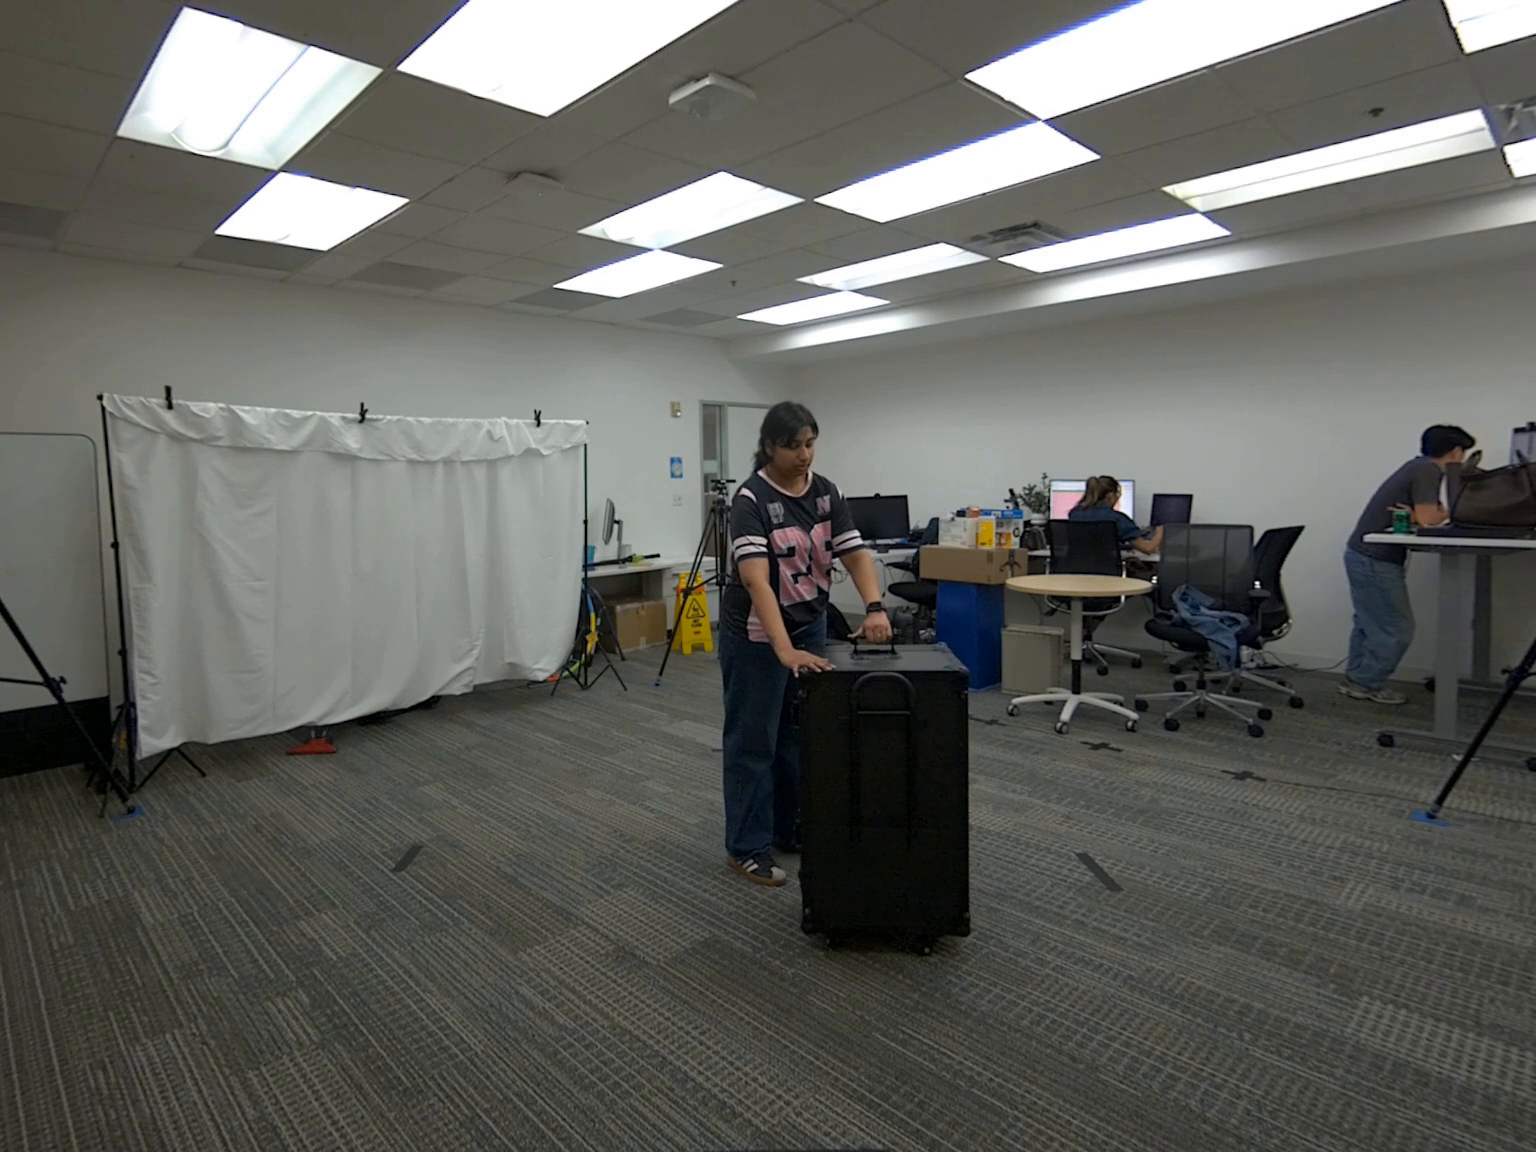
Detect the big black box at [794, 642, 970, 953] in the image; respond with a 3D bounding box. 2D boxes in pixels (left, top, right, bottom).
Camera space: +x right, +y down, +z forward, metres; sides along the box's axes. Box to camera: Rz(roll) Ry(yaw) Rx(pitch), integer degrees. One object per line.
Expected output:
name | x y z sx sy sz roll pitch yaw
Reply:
big black box | 0.350 0.675 2.616 0.525 0.865 0.385 -2 4 3
